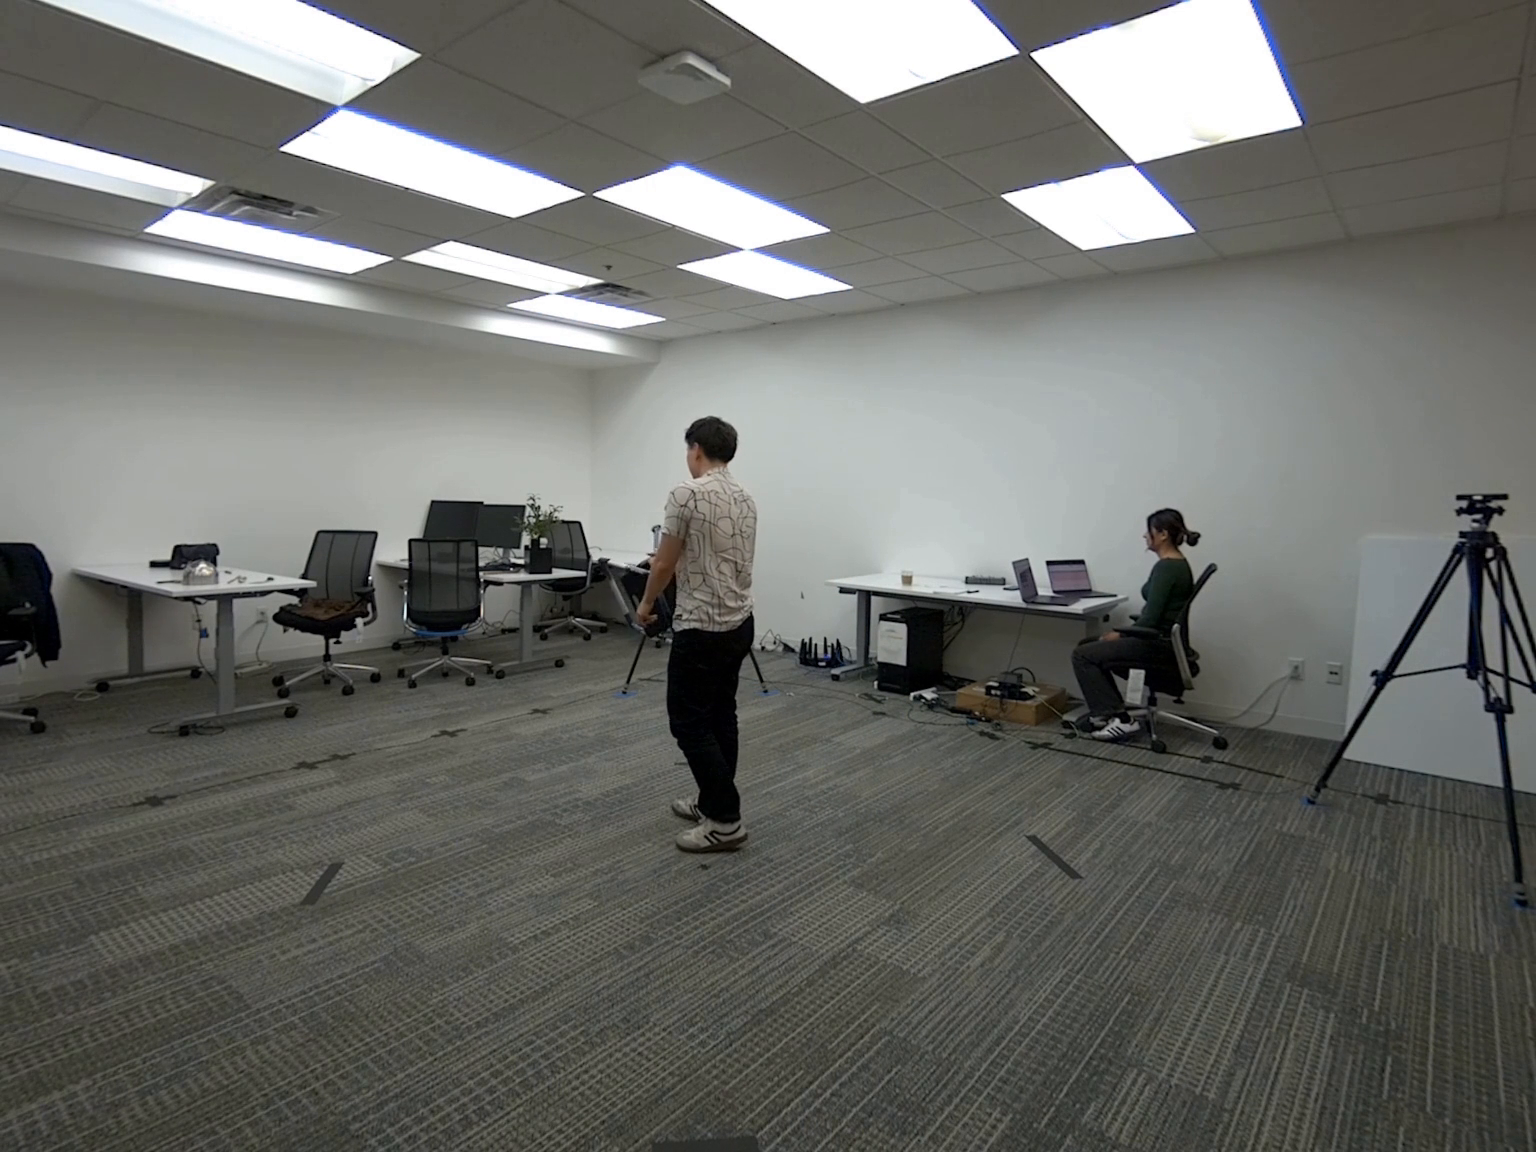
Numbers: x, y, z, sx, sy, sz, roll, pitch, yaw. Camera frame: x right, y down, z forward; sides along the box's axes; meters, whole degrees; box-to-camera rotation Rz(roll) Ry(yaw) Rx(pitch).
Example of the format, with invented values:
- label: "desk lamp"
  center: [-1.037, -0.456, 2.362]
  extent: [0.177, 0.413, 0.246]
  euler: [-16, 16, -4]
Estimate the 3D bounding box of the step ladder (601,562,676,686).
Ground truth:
- label: "step ladder"
  center: [-0.493, 0.096, 3.920]
  extent: [0.347, 0.418, 0.628]
  euler: [-30, 26, -15]
